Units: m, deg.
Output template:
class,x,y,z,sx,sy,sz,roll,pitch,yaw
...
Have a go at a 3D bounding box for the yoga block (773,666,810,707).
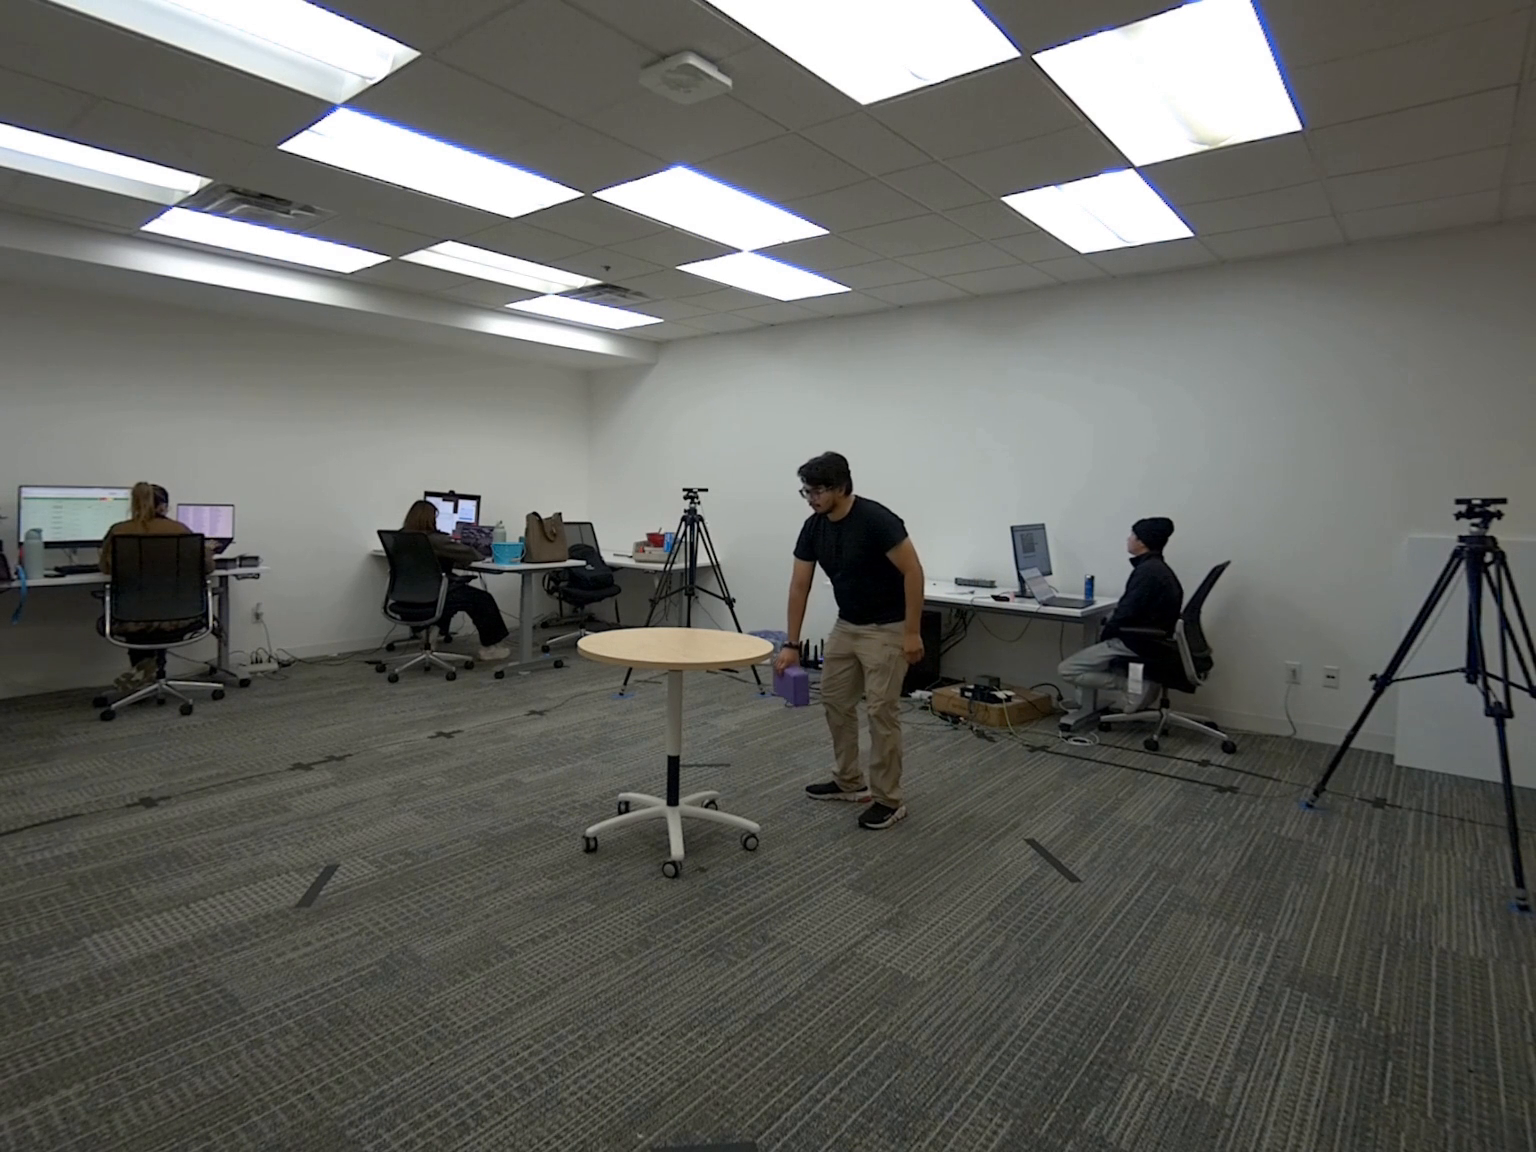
class,x,y,z,sx,sy,sz,roll,pitch,yaw
yoga block,0.094,0.474,3.783,0.075,0.148,0.236,-4,11,-20
